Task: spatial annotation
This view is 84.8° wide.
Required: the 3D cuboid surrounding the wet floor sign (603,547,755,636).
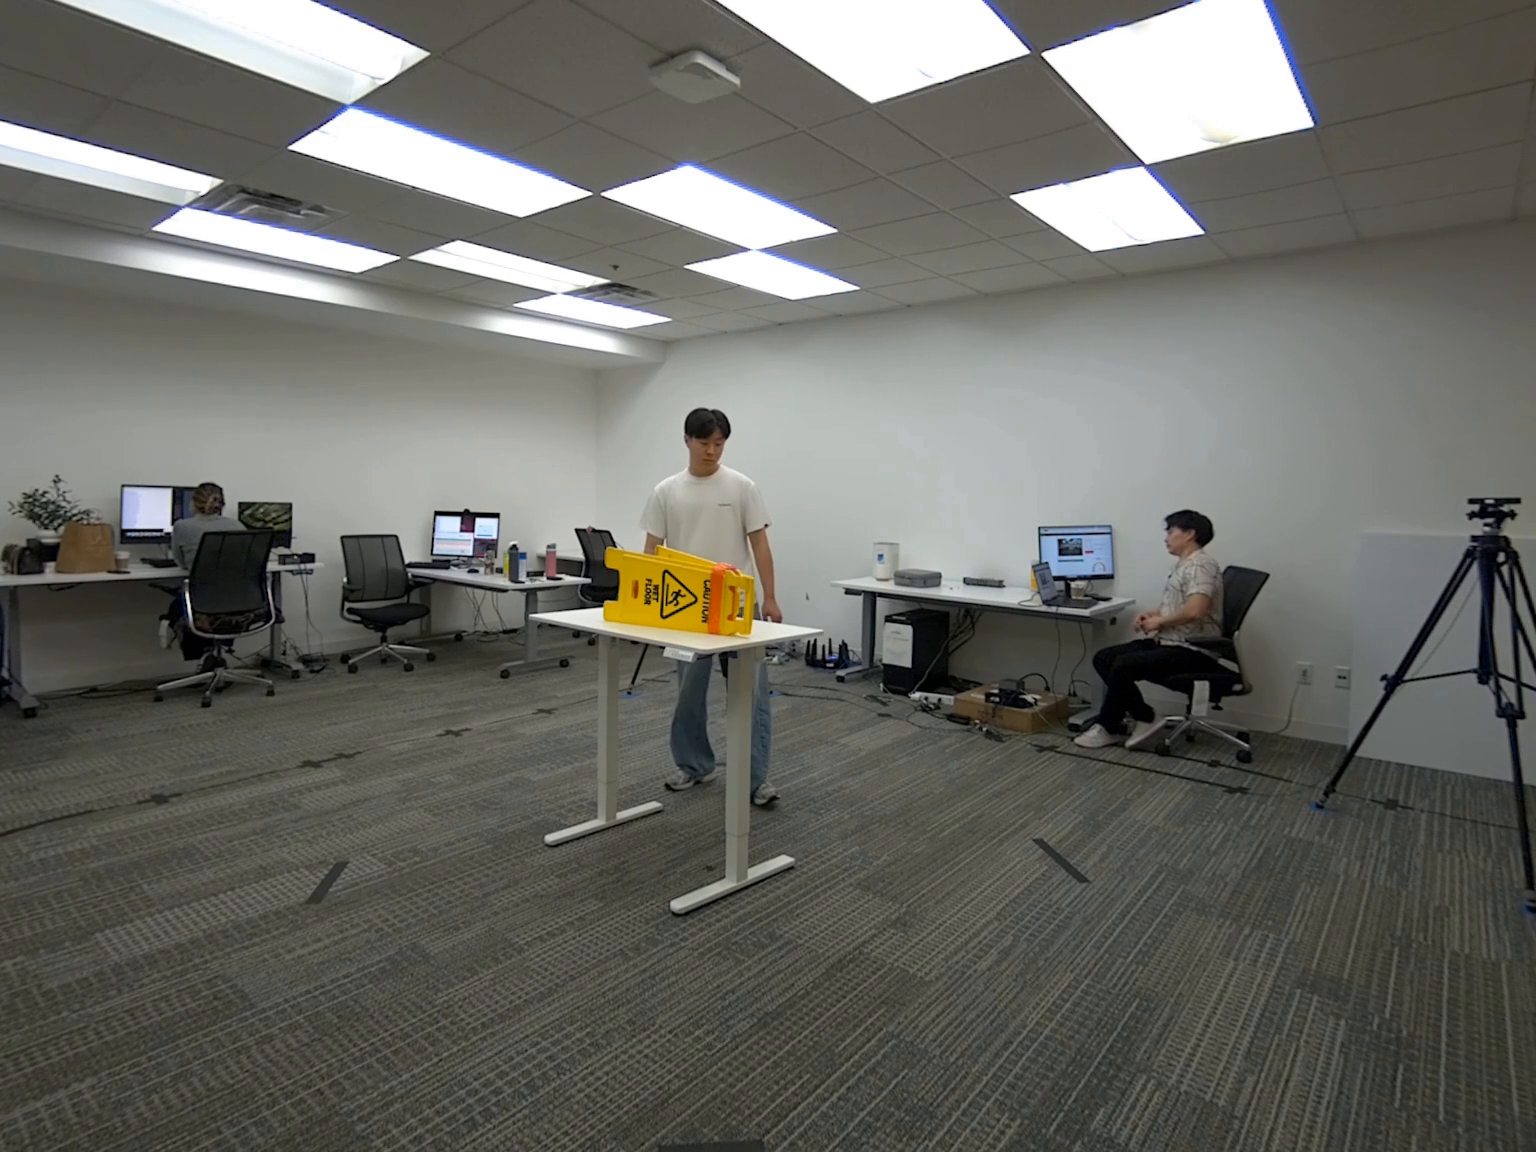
[{"bbox_3d":[-0.298,0.059,3.081,0.669,0.281,0.280,9,7,43],"label":"wet floor sign"}]
